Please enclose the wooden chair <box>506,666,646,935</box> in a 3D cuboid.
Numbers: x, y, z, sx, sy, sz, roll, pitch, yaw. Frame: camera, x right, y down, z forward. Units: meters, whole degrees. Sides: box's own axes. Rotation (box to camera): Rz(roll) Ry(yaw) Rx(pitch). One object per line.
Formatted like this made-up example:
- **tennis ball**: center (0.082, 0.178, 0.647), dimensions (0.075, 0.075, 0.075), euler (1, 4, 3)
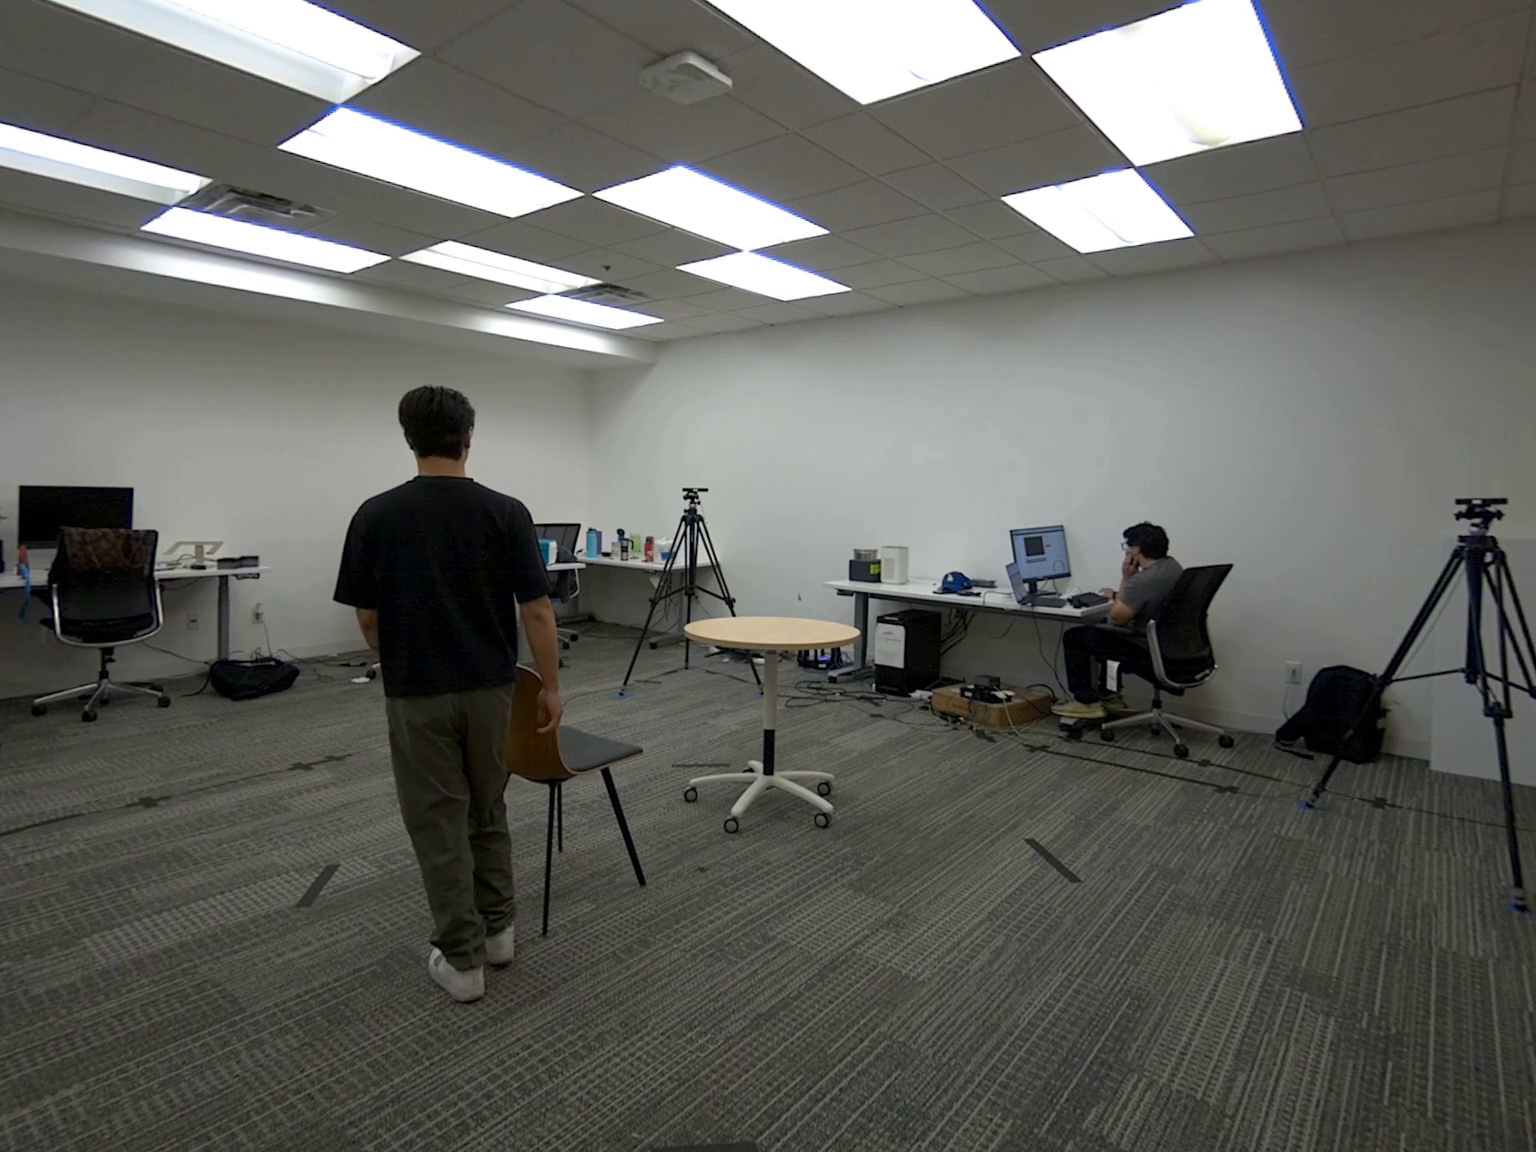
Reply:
- **wooden chair**: center (-0.737, 0.651, 2.917), dimensions (0.493, 0.872, 0.510), euler (3, 9, 37)
